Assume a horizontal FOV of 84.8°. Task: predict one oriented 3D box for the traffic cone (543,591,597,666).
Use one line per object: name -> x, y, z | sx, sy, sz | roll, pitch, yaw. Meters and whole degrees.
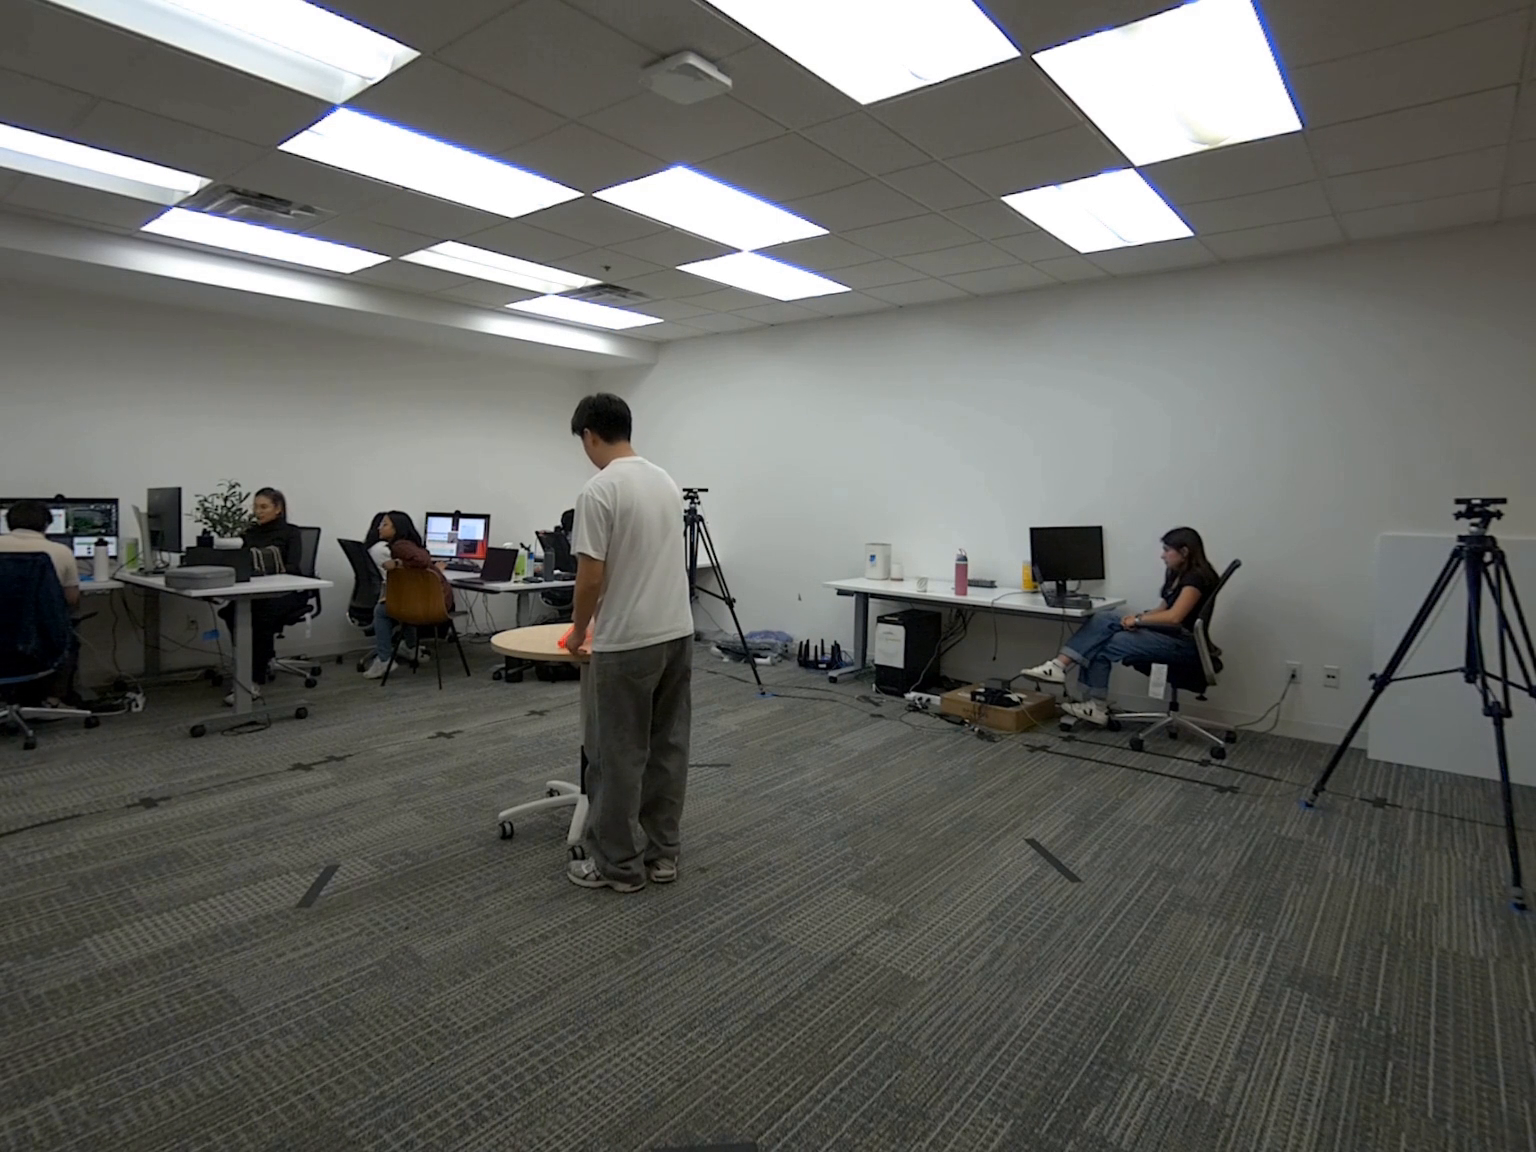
traffic cone -> -0.701, 0.179, 3.356 | 0.209, 0.200, 0.381 | 6, 17, 18
